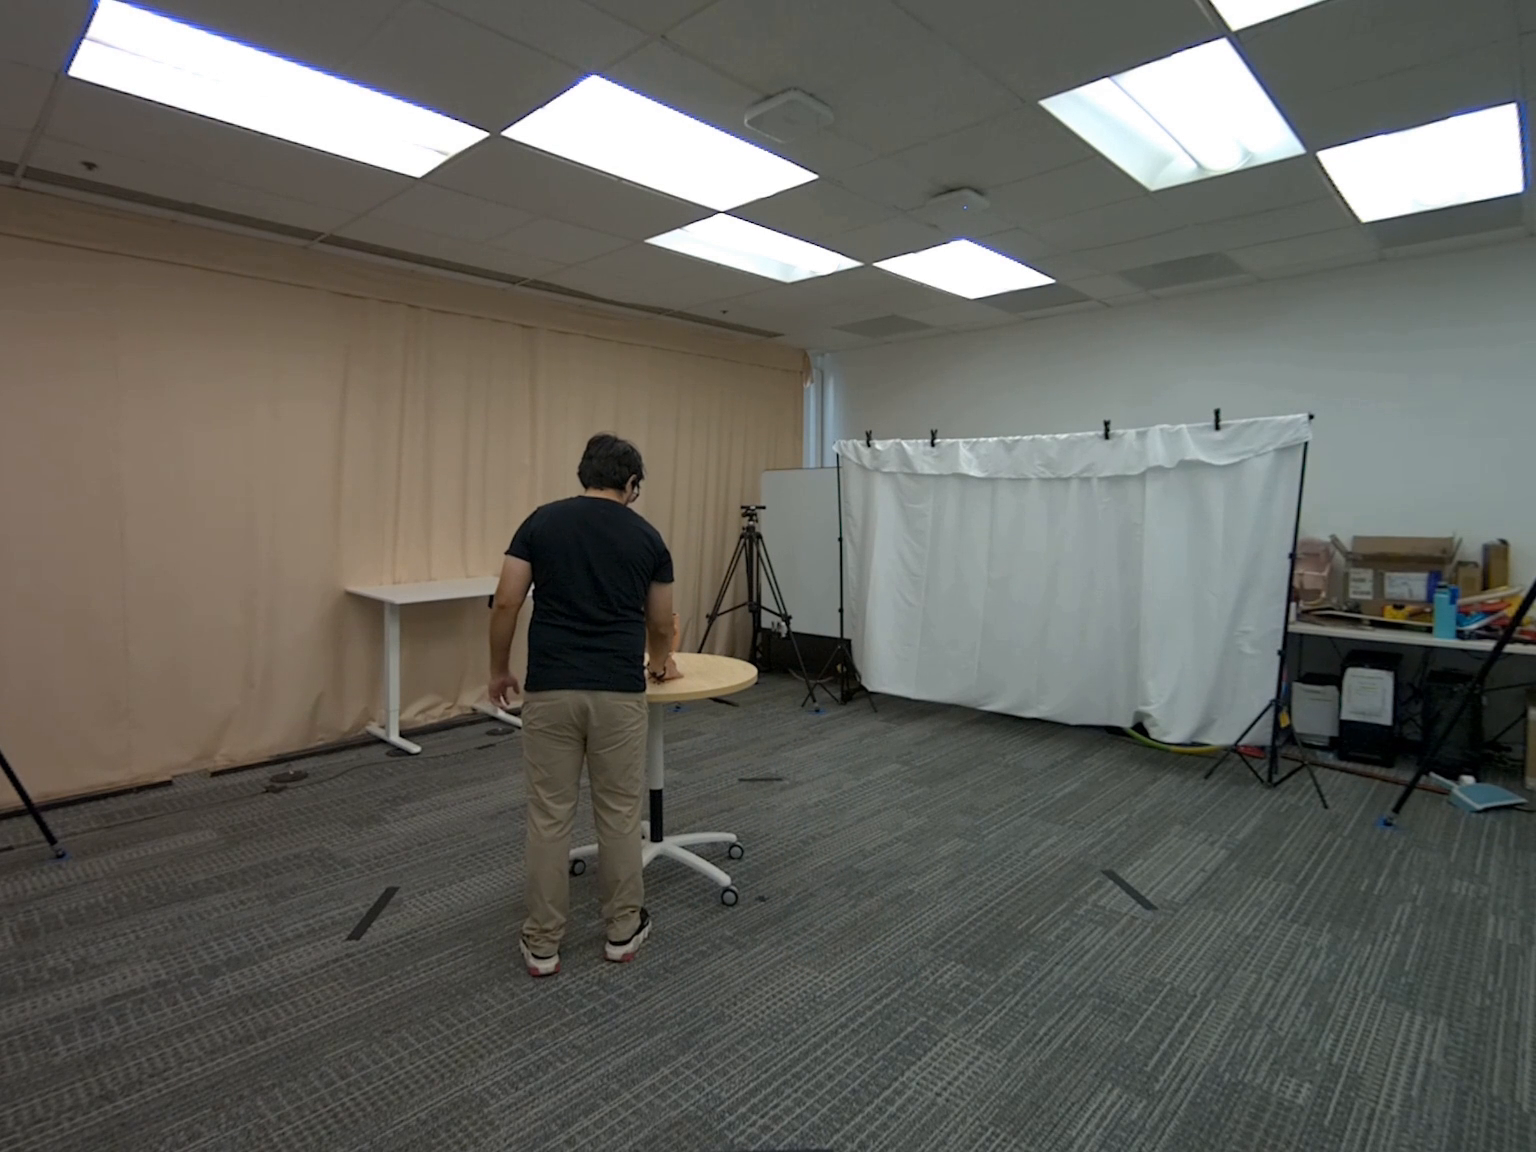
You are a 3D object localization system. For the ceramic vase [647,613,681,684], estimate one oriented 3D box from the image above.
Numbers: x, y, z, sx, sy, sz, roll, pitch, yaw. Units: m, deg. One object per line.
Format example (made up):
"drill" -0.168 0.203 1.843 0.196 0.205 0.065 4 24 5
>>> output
"ceramic vase" -0.388 0.254 3.038 0.134 0.219 0.159 -4 2 -4
